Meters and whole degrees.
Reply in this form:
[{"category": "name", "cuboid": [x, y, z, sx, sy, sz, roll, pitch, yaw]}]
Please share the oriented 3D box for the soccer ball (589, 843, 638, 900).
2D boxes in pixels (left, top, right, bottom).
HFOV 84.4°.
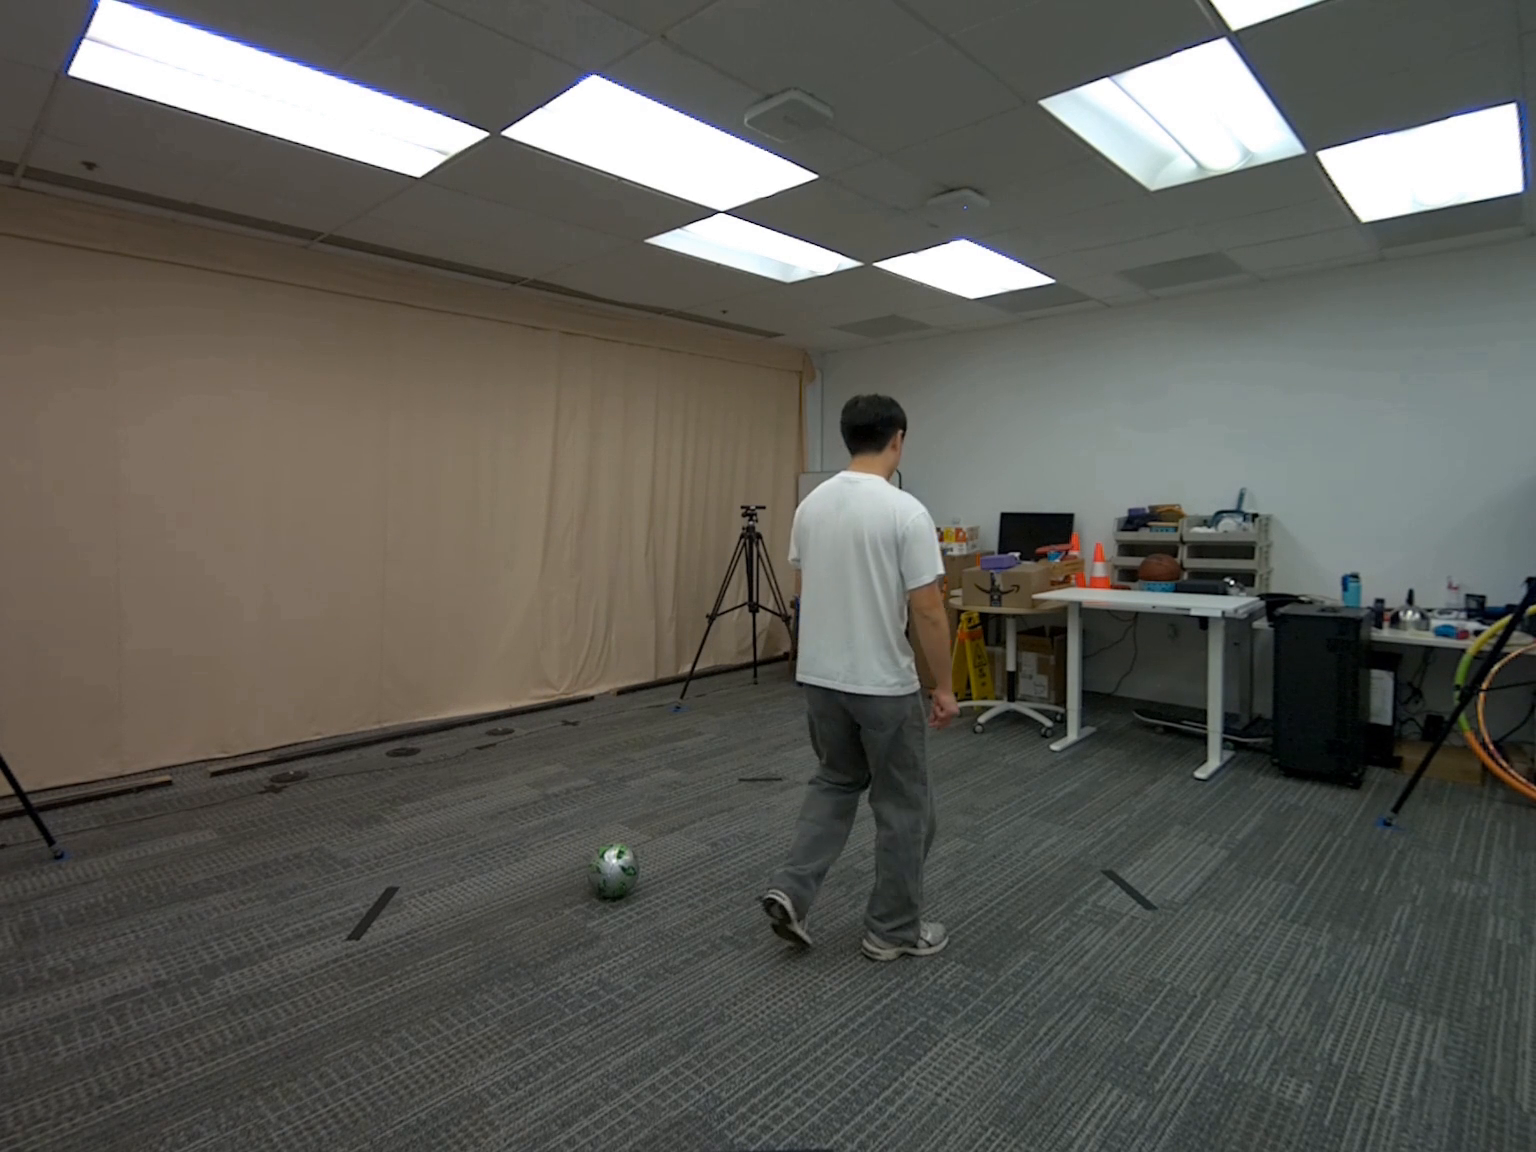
[{"category": "soccer ball", "cuboid": [-0.549, 1.056, 3.013, 0.187, 0.187, 0.188, 0, 4, -2]}]
